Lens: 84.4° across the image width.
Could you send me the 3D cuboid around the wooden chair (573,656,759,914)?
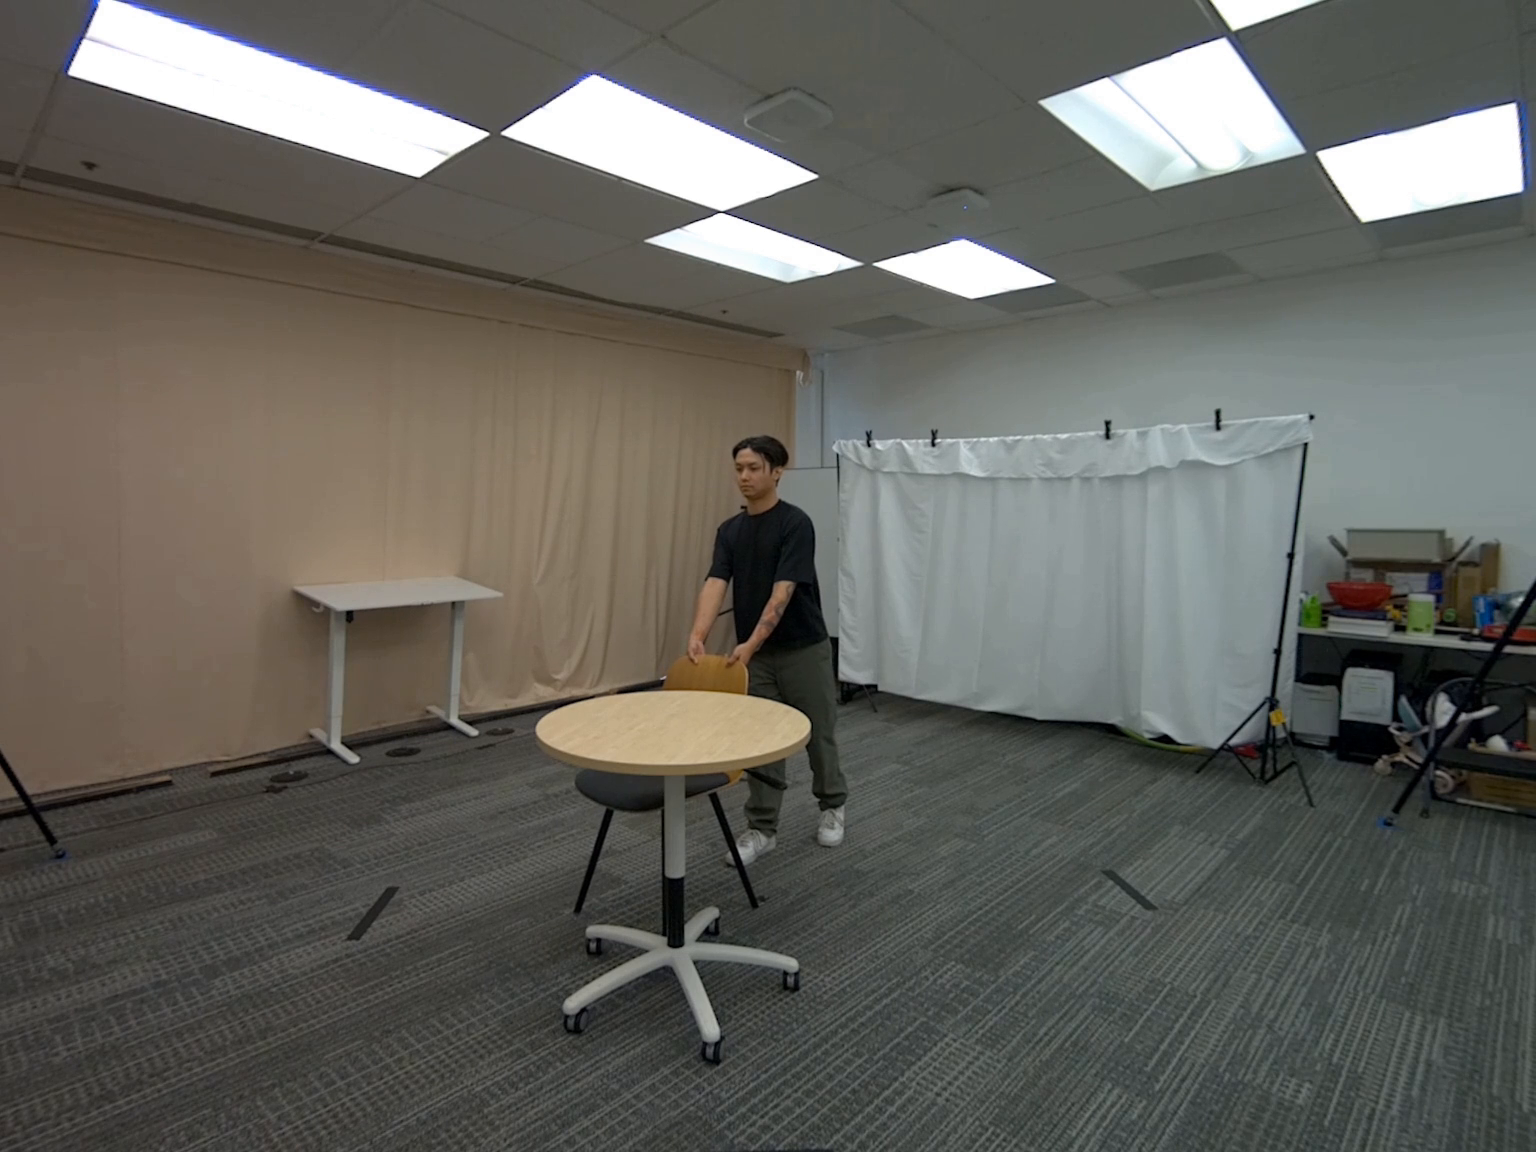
[{"bbox_3d":[-0.352,0.726,2.868,0.494,0.877,0.506,3,0,41],"label":"wooden chair"}]
